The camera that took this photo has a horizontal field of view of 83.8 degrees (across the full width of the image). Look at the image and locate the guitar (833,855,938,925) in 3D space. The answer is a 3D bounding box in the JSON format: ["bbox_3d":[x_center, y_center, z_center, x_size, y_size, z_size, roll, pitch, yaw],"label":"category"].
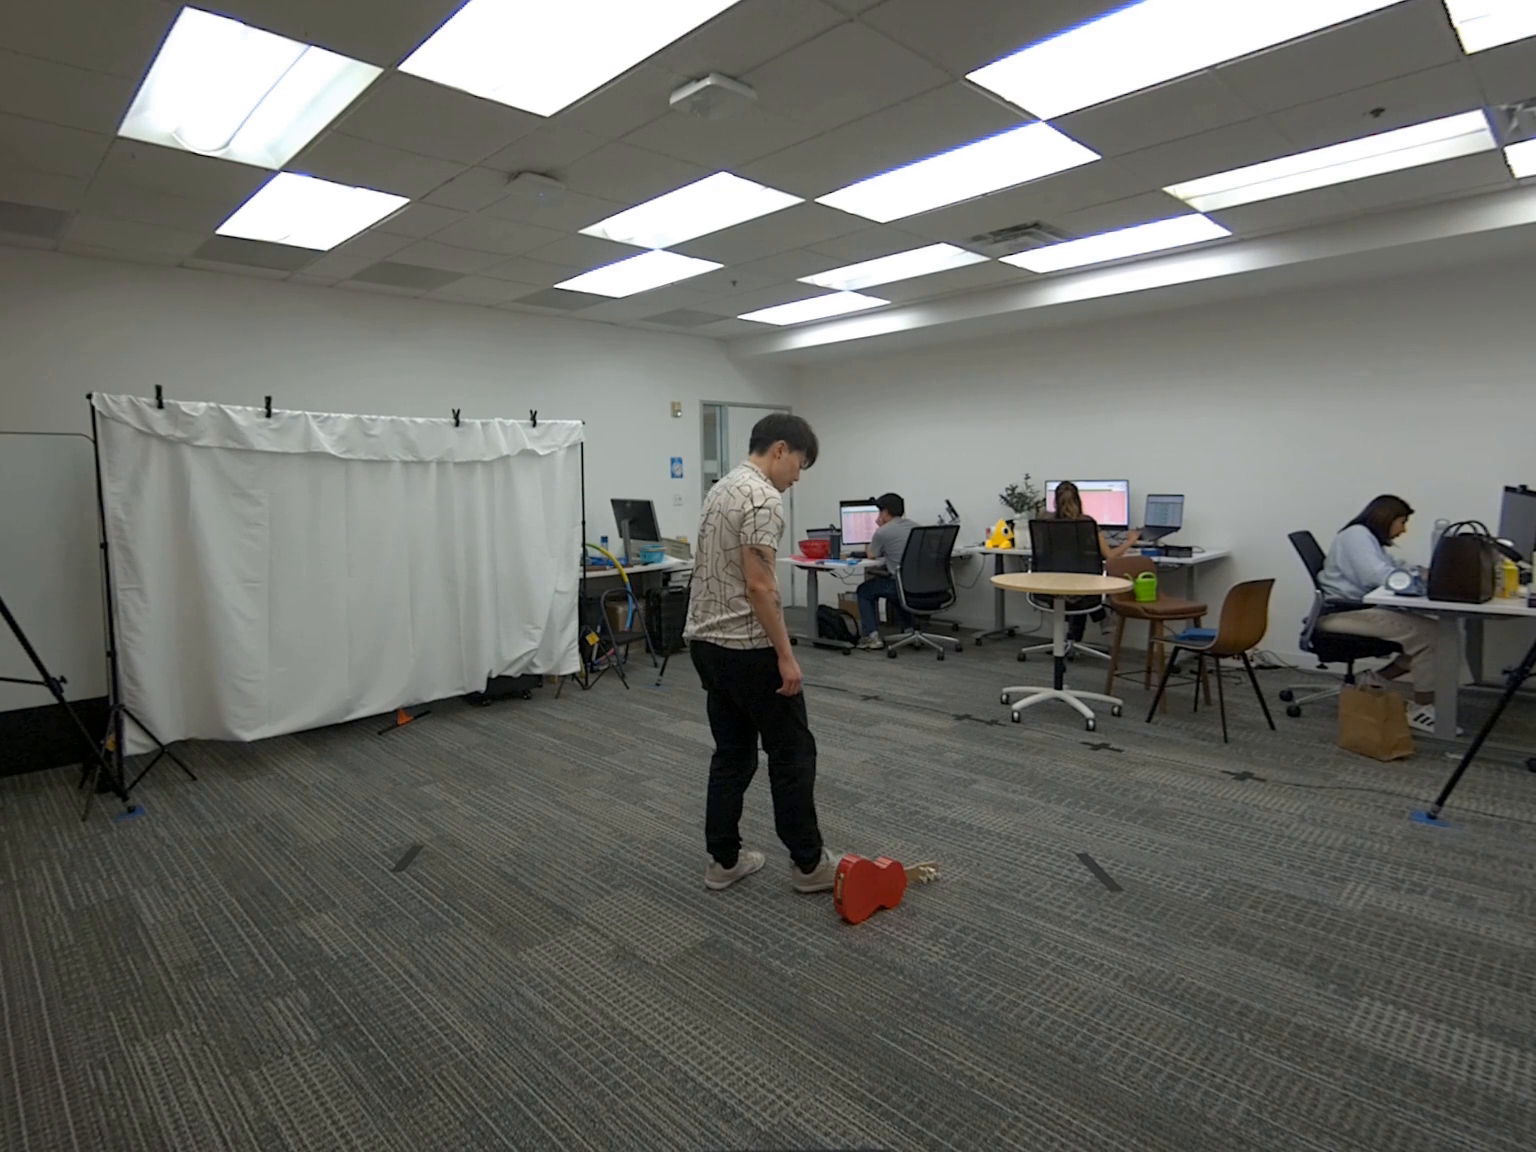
[{"bbox_3d":[0.417,0.980,2.815,0.485,0.193,0.072,-5,3,-36],"label":"guitar"}]
